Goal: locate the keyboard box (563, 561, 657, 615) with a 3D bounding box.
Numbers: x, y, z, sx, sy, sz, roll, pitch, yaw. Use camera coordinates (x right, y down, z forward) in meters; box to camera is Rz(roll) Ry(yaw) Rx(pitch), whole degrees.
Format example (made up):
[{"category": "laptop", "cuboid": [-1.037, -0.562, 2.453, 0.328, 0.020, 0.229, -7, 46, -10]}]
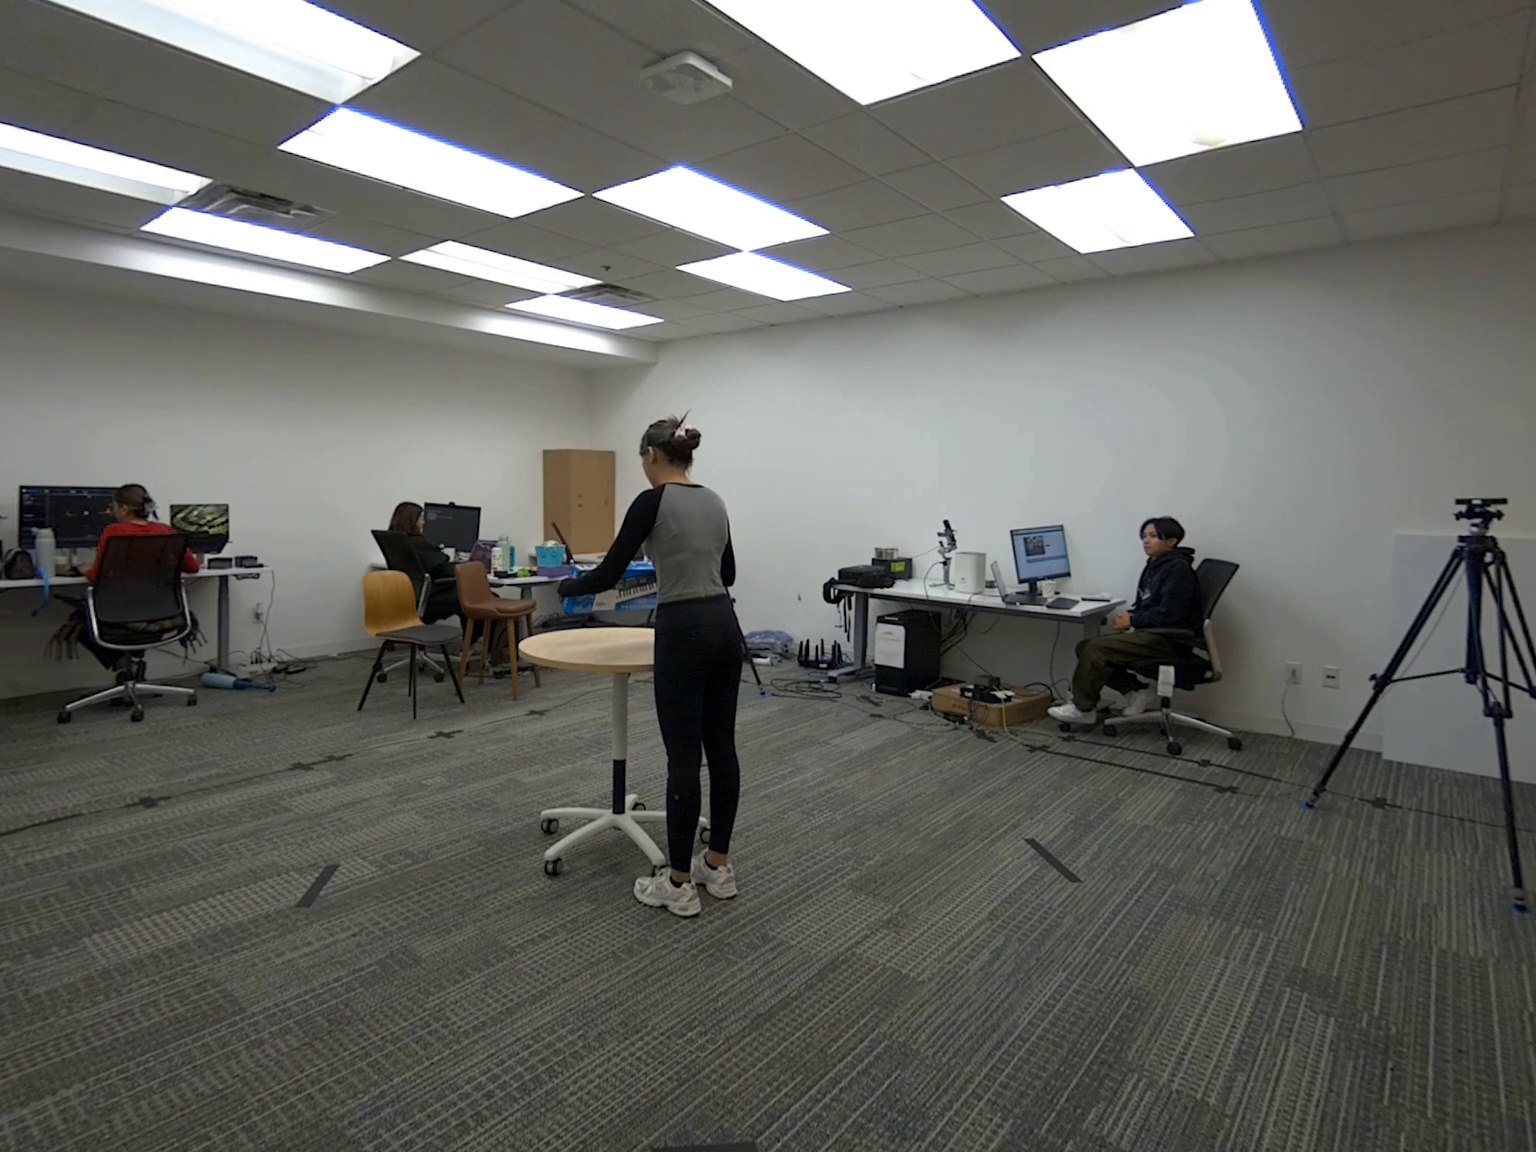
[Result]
[{"category": "keyboard box", "cuboid": [-0.577, 0.041, 3.222, 0.423, 0.174, 0.061, -2, 20, -44]}]
